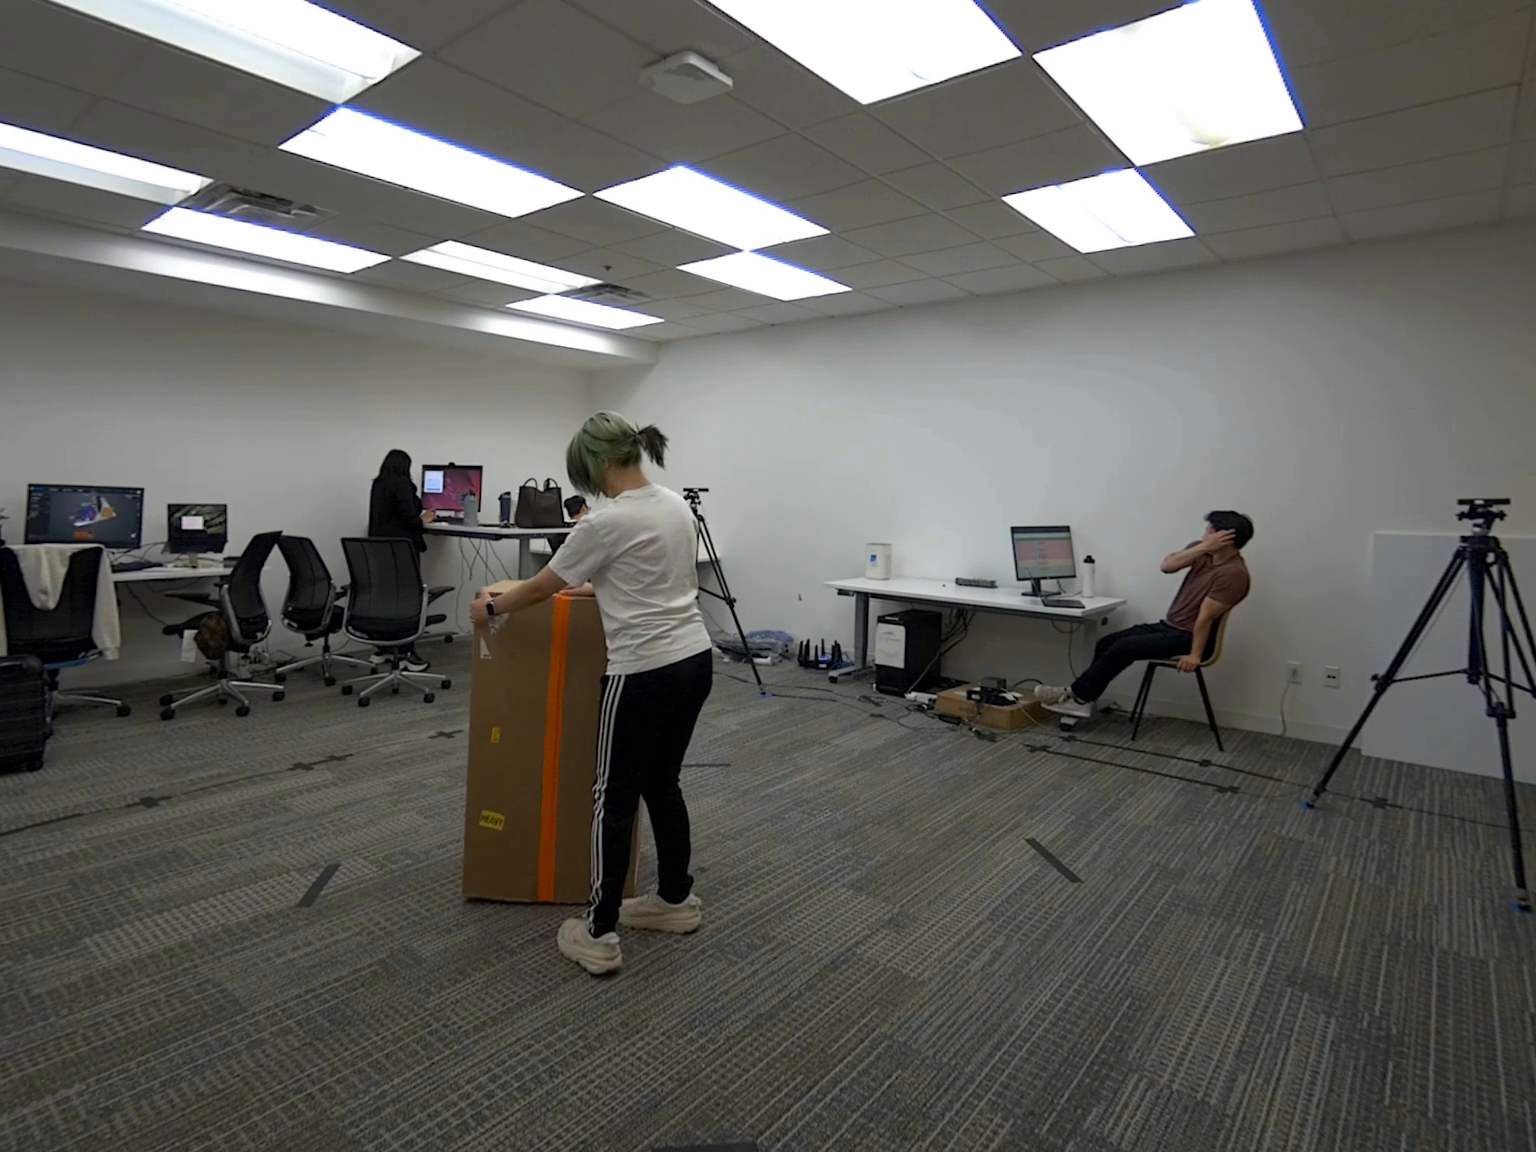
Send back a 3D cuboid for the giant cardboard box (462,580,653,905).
[{"bbox_3d":[-0.733,0.557,3.008,0.577,1.024,0.428,3,2,-2],"label":"giant cardboard box"}]
